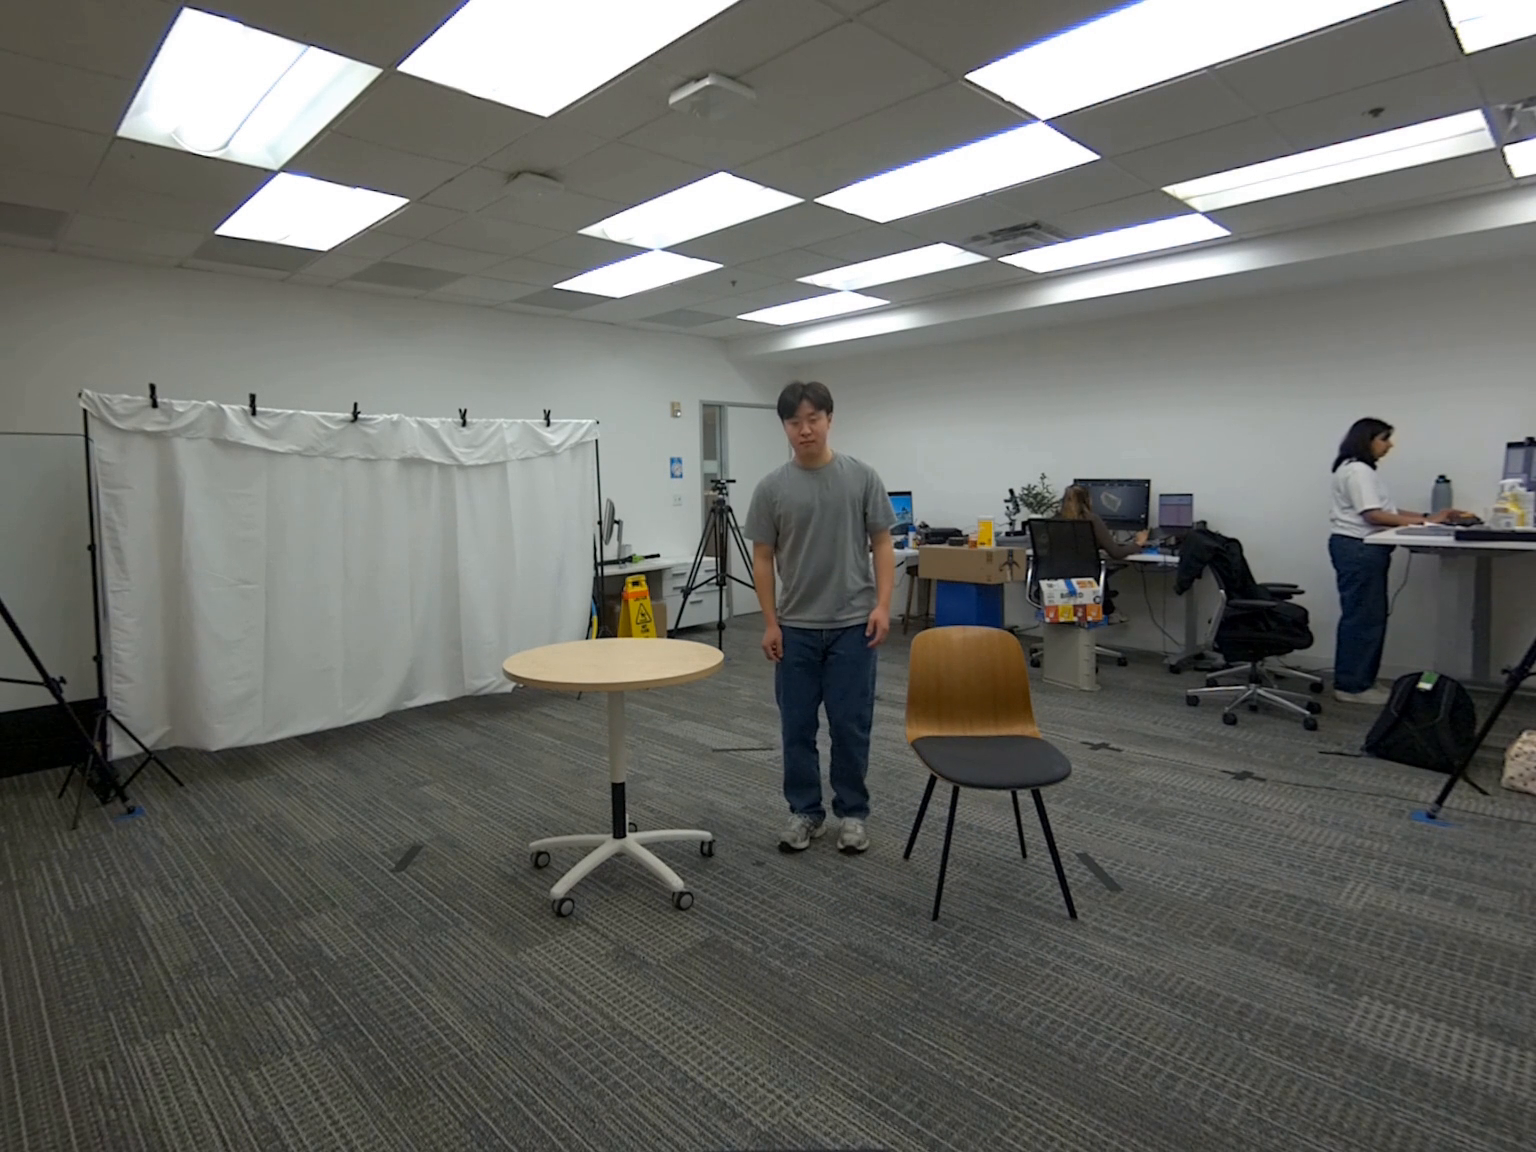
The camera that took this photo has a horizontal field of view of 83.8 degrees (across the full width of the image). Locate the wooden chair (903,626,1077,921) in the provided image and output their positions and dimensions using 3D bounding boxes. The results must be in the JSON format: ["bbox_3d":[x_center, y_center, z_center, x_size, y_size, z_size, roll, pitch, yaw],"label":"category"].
[{"bbox_3d":[0.725,0.631,2.860,0.478,0.877,0.523,0,0,-1],"label":"wooden chair"}]
